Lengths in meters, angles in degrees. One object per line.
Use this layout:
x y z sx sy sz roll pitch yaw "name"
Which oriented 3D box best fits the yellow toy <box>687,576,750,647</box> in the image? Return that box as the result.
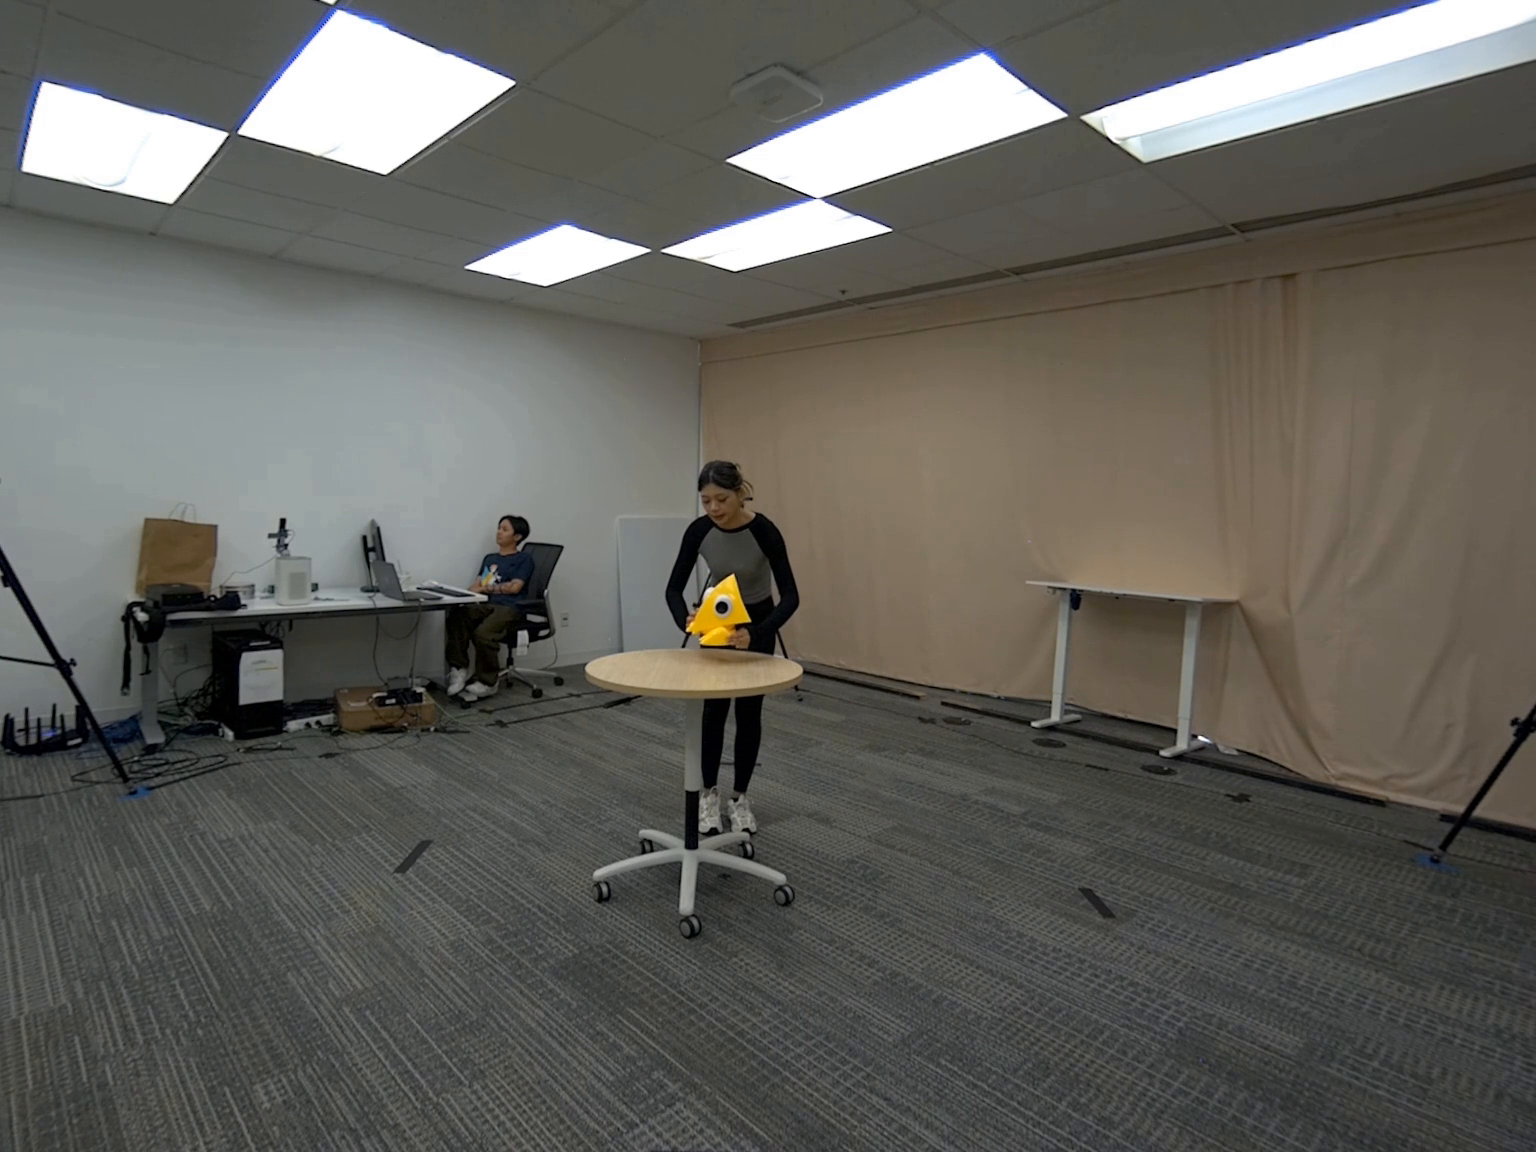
-0.196 0.110 3.084 0.190 0.228 0.211 -7 20 -27 "yellow toy"
